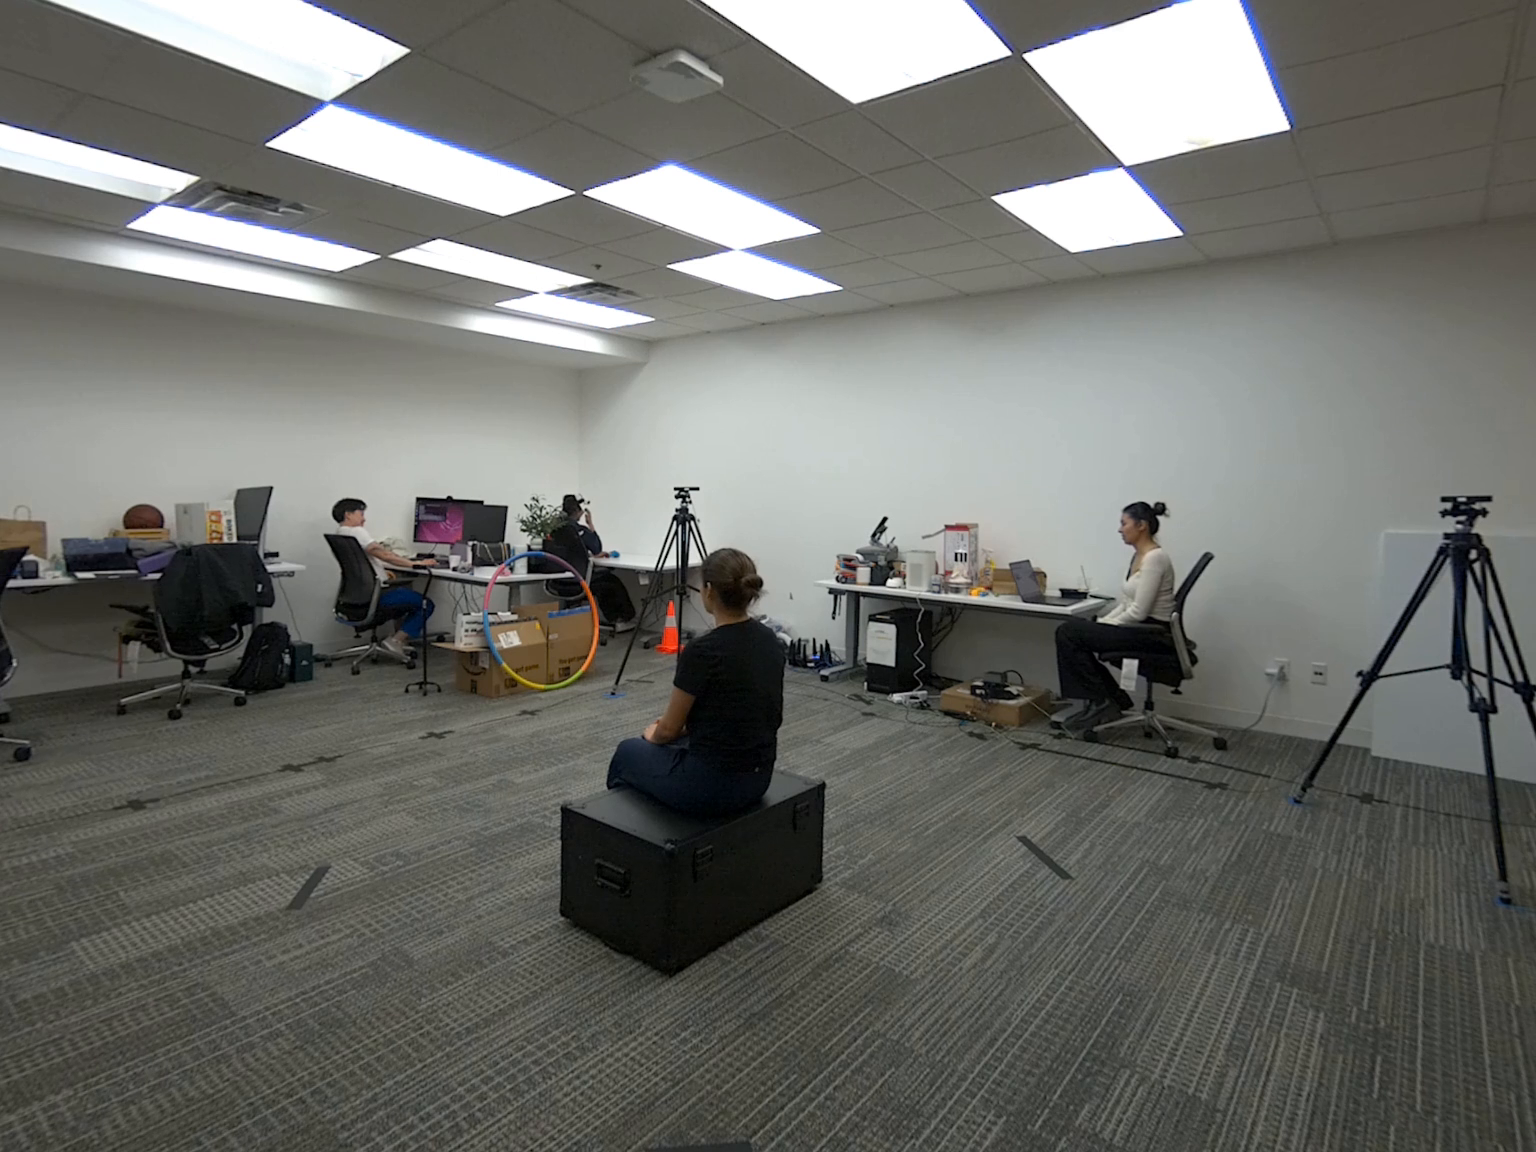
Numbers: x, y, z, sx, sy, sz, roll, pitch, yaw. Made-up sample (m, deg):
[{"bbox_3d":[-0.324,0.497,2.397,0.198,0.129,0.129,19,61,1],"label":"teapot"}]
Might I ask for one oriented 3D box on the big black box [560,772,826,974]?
[{"bbox_3d":[-0.198,0.903,2.863,0.539,0.394,0.837,5,7,39],"label":"big black box"}]
